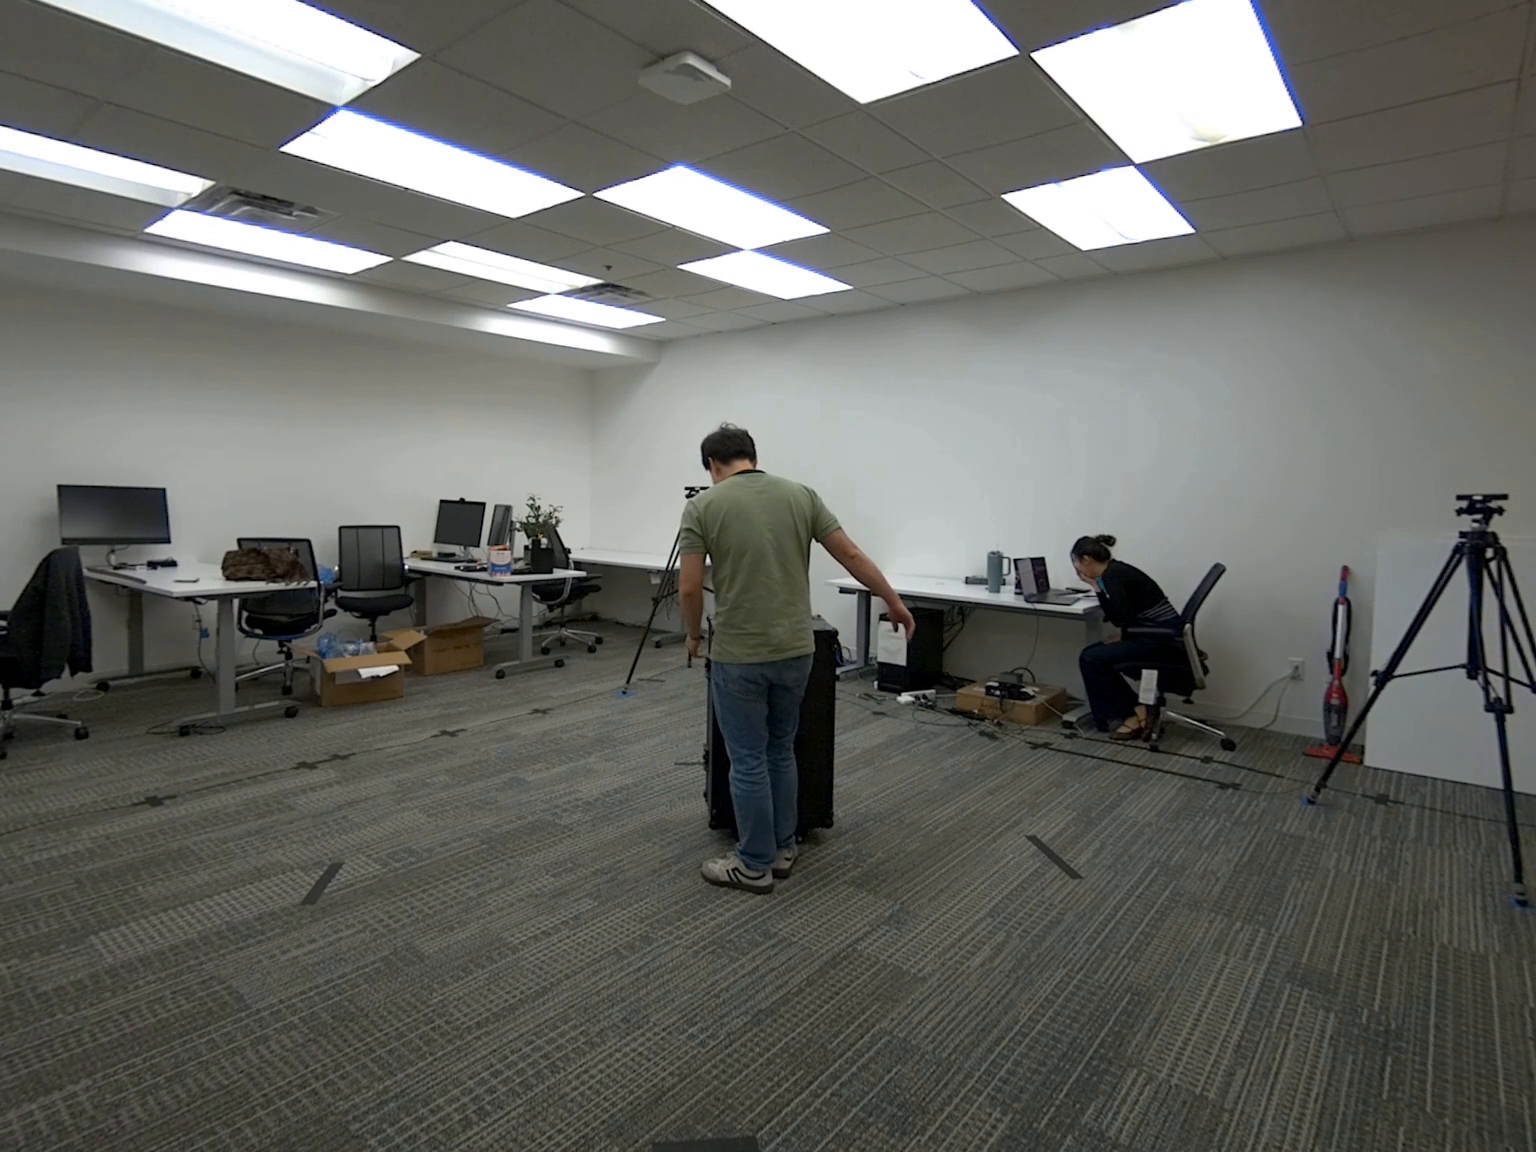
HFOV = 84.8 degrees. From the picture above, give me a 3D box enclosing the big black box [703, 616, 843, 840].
[{"bbox_3d":[-0.005,0.606,3.448,0.519,0.858,0.399,1,4,-4],"label":"big black box"}]
